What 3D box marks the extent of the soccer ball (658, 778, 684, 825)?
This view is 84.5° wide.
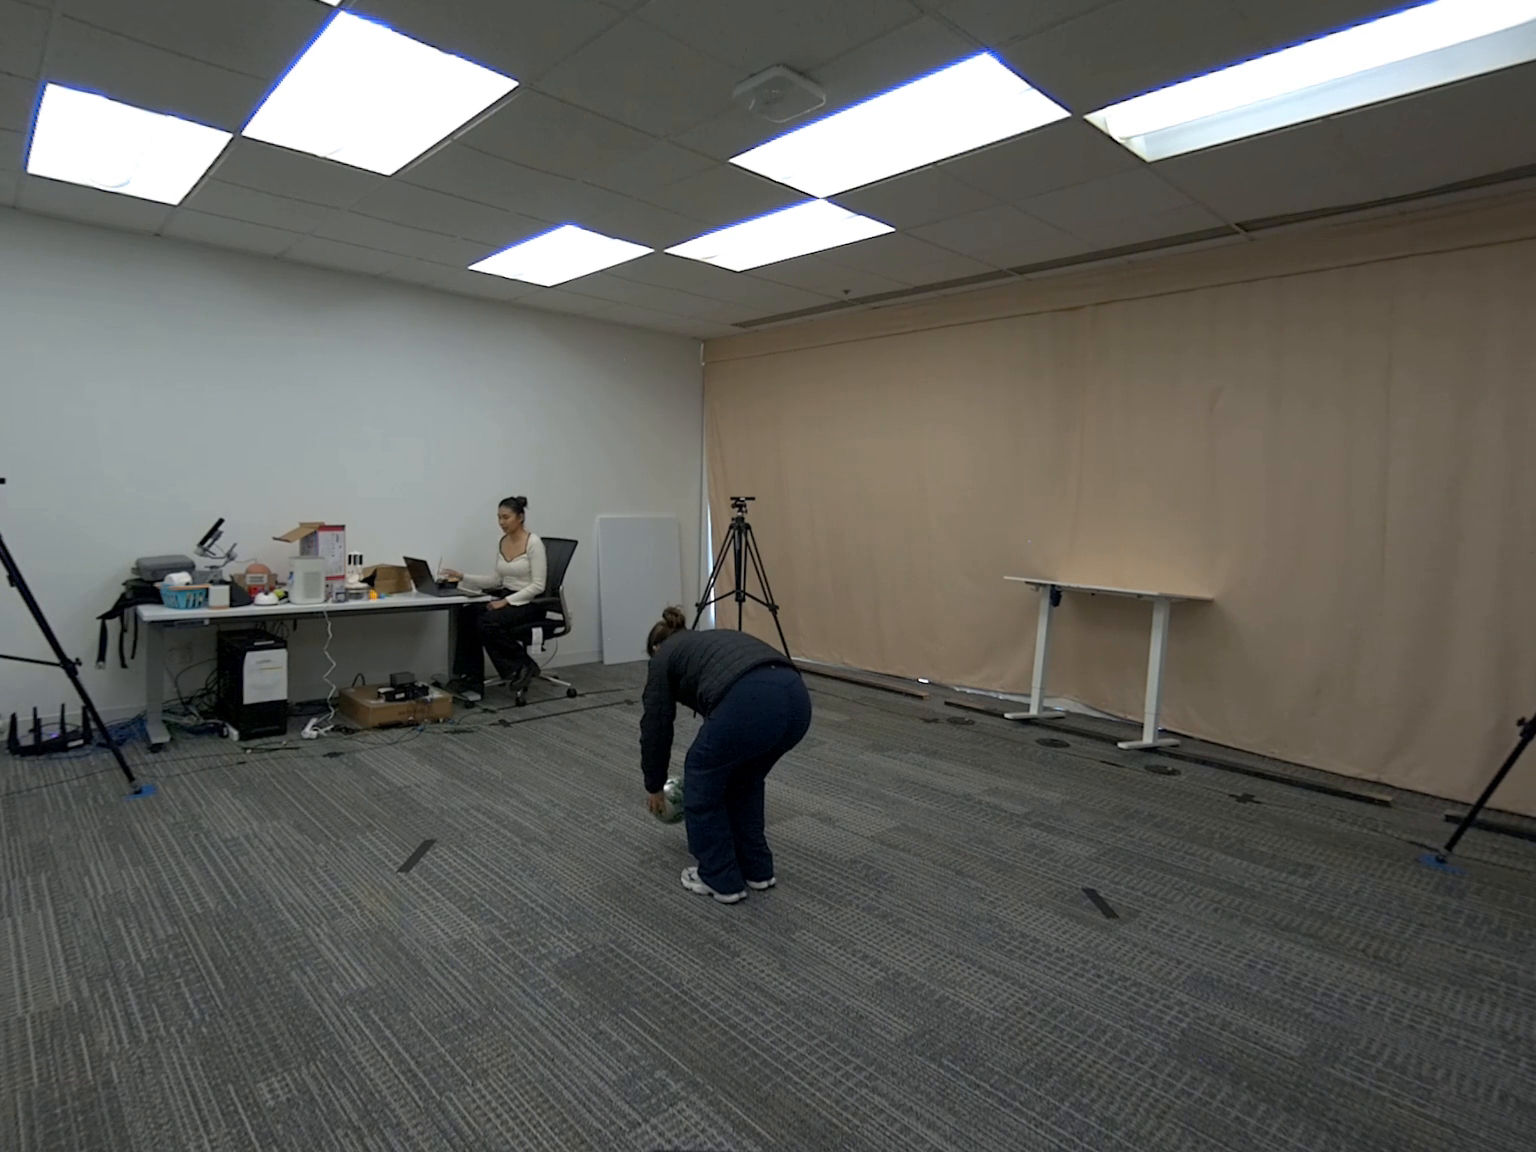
[{"bbox_3d":[-0.388,0.873,3.355,0.187,0.187,0.188,1,4,-1],"label":"soccer ball"}]
